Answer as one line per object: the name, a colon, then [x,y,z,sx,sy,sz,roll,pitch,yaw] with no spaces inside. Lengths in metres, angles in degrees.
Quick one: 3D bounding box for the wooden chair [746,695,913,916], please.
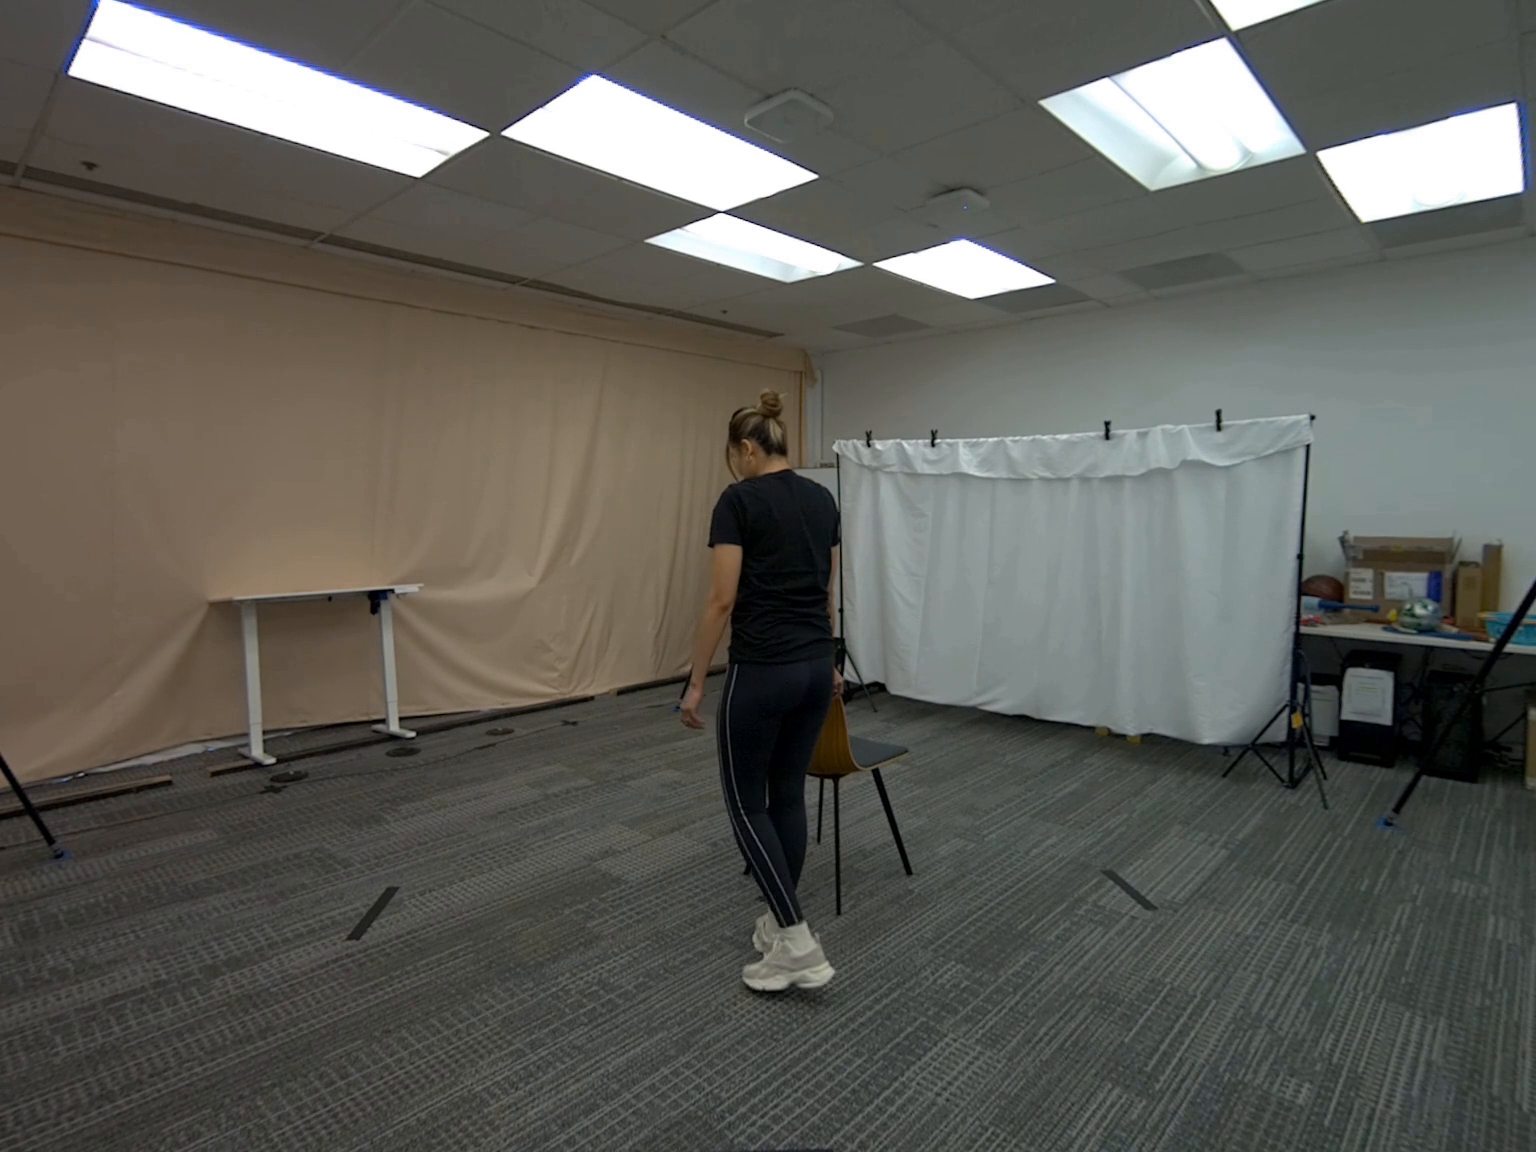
wooden chair: [0.234,0.701,3.149,0.494,0.873,0.508,3,9,44]
